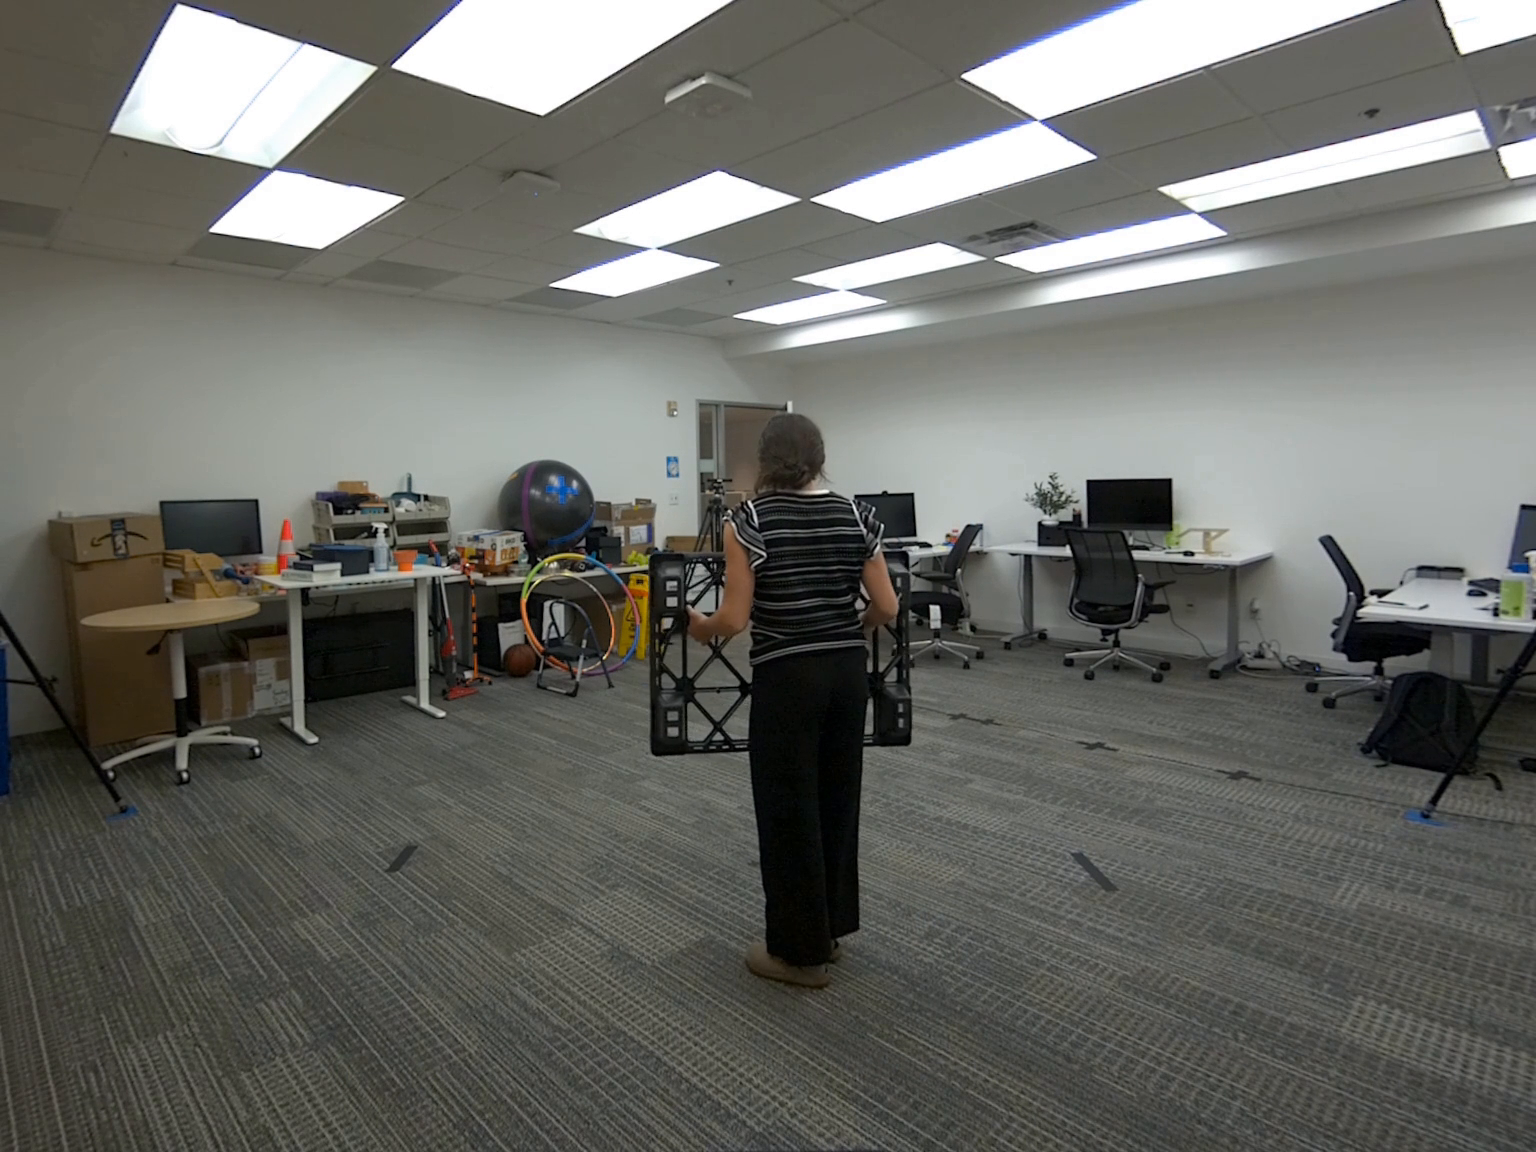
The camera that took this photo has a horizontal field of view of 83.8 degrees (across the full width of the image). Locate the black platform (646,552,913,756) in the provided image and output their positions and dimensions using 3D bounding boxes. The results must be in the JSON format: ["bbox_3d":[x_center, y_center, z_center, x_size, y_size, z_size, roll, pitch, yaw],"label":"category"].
[{"bbox_3d":[0.047,0.226,2.543,0.799,0.605,0.144,-1,-1,-8],"label":"black platform"}]
